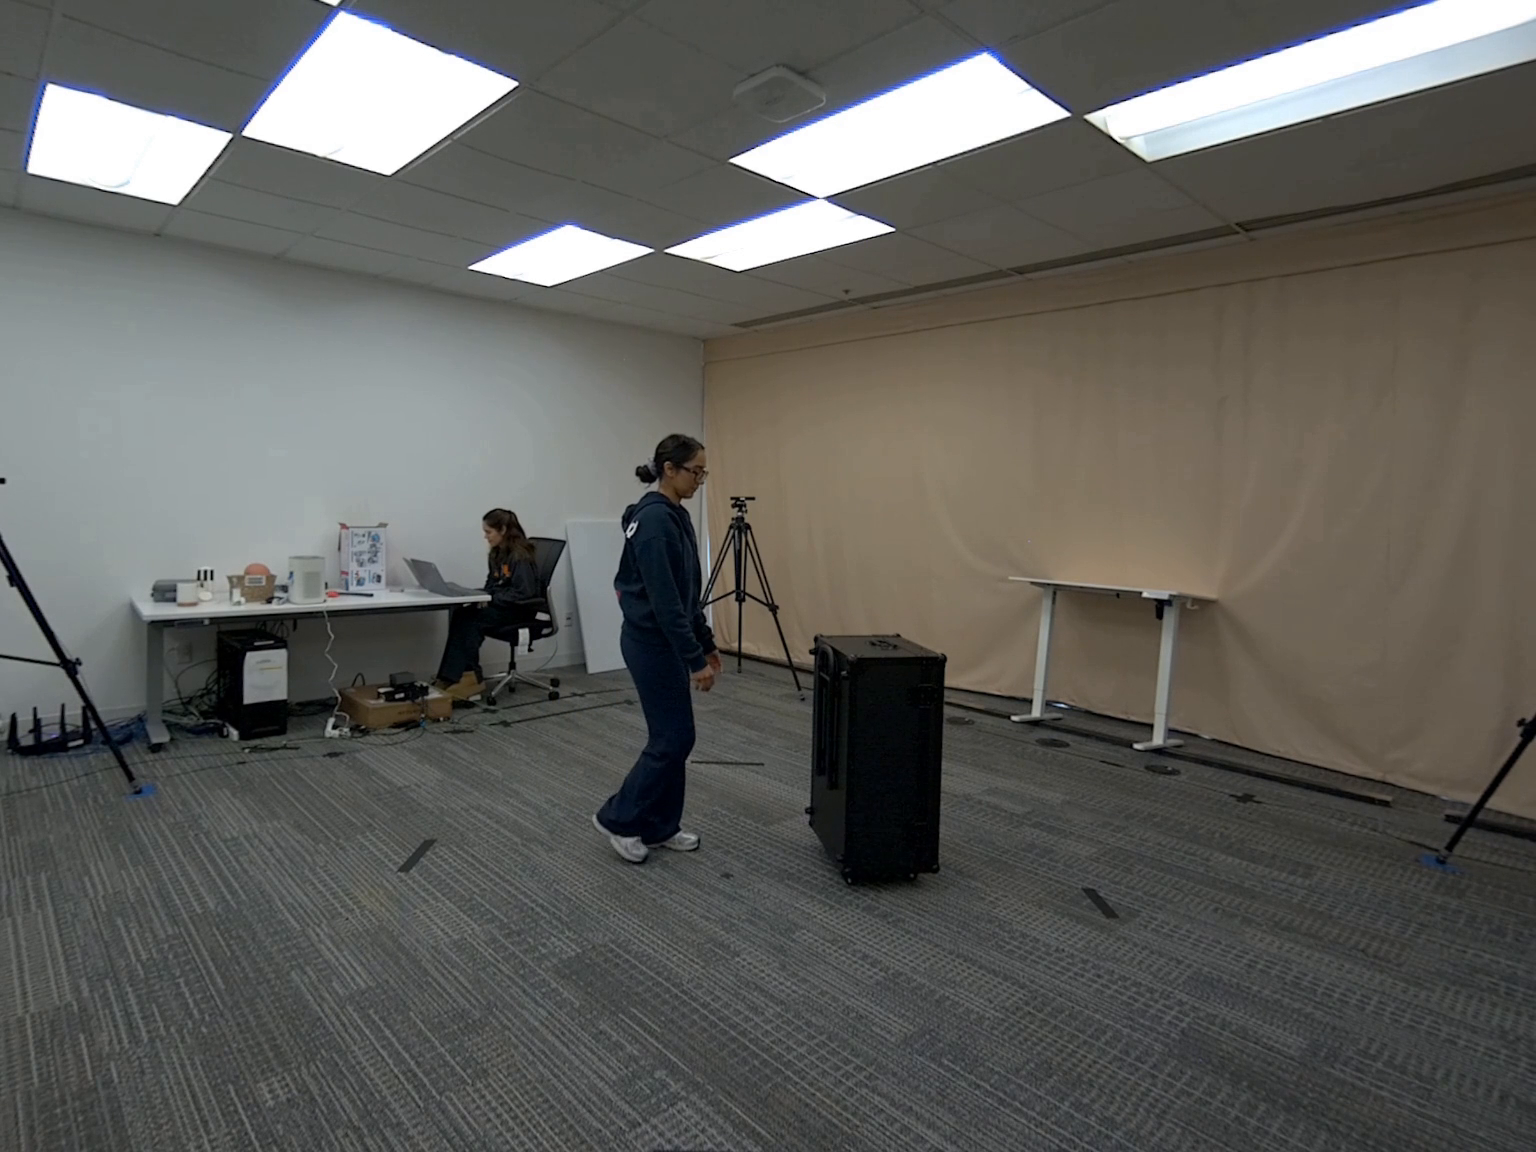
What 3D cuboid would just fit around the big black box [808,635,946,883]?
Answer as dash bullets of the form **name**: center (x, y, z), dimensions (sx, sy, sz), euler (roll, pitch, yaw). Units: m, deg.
- **big black box**: center (0.386, 0.681, 3.198), dimensions (0.393, 0.859, 0.527), euler (0, 5, -12)
